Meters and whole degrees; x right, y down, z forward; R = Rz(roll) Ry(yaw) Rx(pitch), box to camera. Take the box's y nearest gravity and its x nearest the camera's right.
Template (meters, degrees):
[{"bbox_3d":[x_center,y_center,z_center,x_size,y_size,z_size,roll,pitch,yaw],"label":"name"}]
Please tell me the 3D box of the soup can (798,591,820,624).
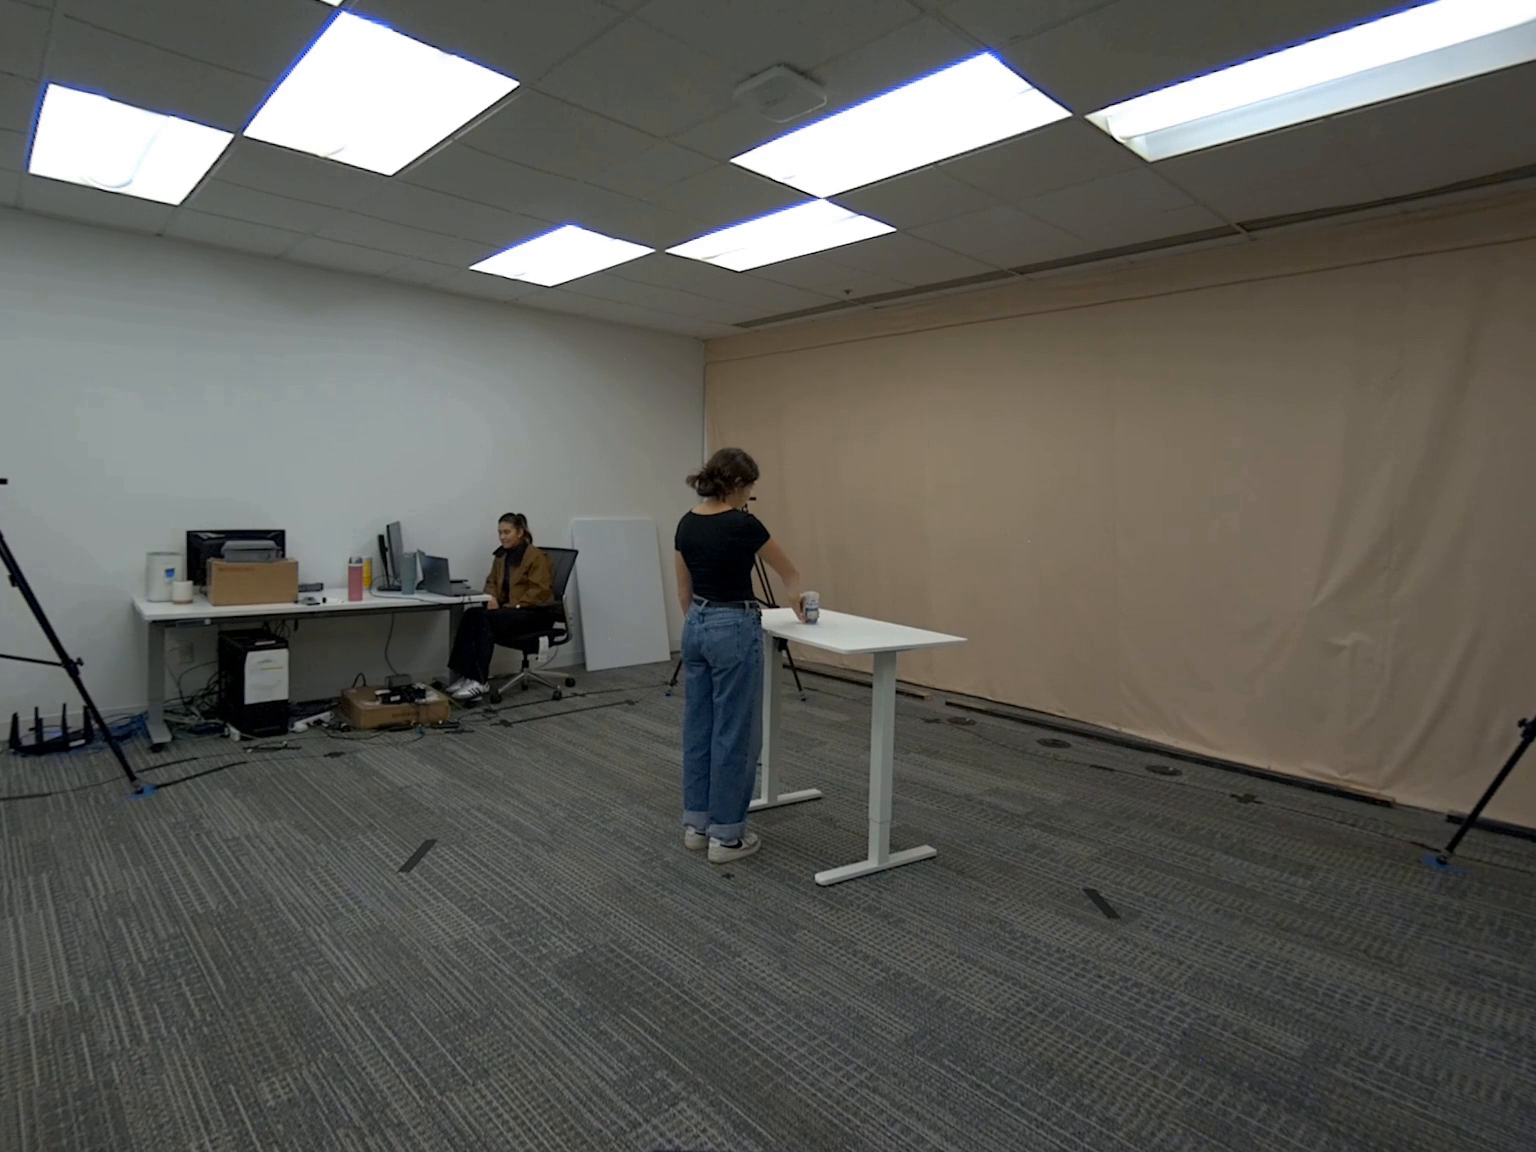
[{"bbox_3d":[0.154,0.128,3.492,0.067,0.120,0.068,2,12,-2],"label":"soup can"}]
